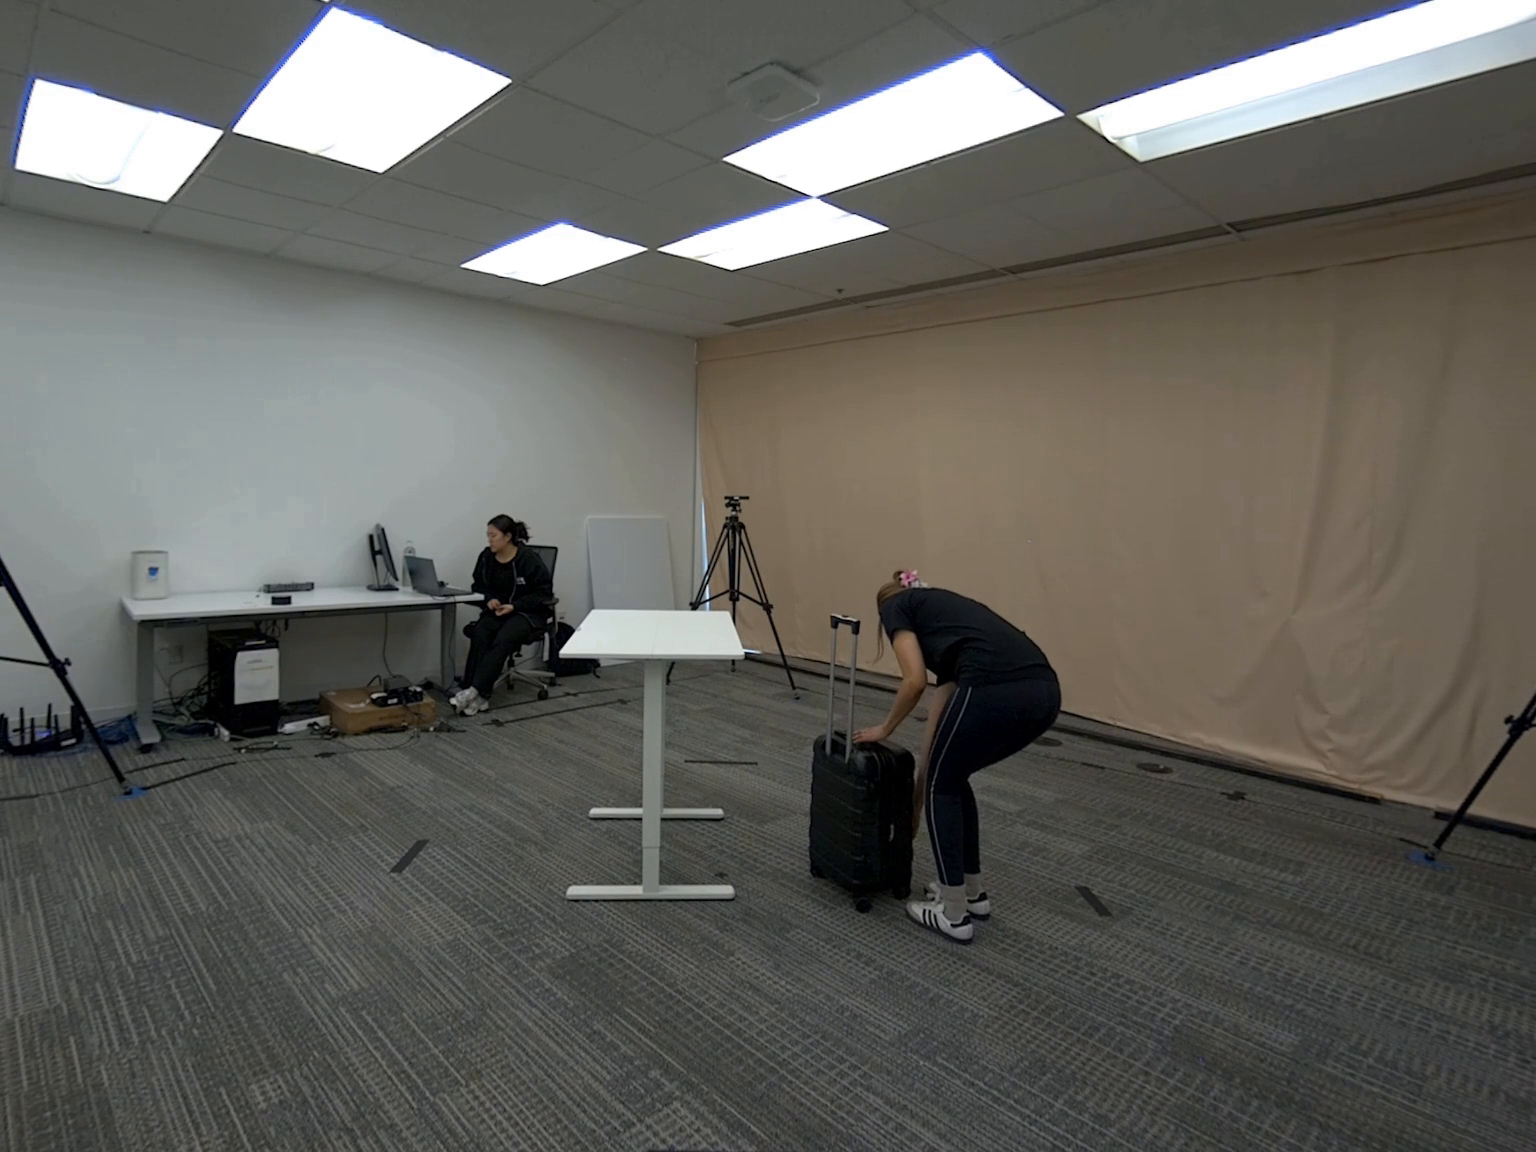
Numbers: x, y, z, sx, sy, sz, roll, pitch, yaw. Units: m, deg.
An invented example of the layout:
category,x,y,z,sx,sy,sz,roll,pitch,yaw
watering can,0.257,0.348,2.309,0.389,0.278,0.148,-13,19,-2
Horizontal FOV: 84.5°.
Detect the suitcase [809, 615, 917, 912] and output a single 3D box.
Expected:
category,x,y,z,sx,sy,sz,roll,pitch,yaw
suitcase,0.334,0.644,3.025,0.253,0.977,0.391,2,2,-22
